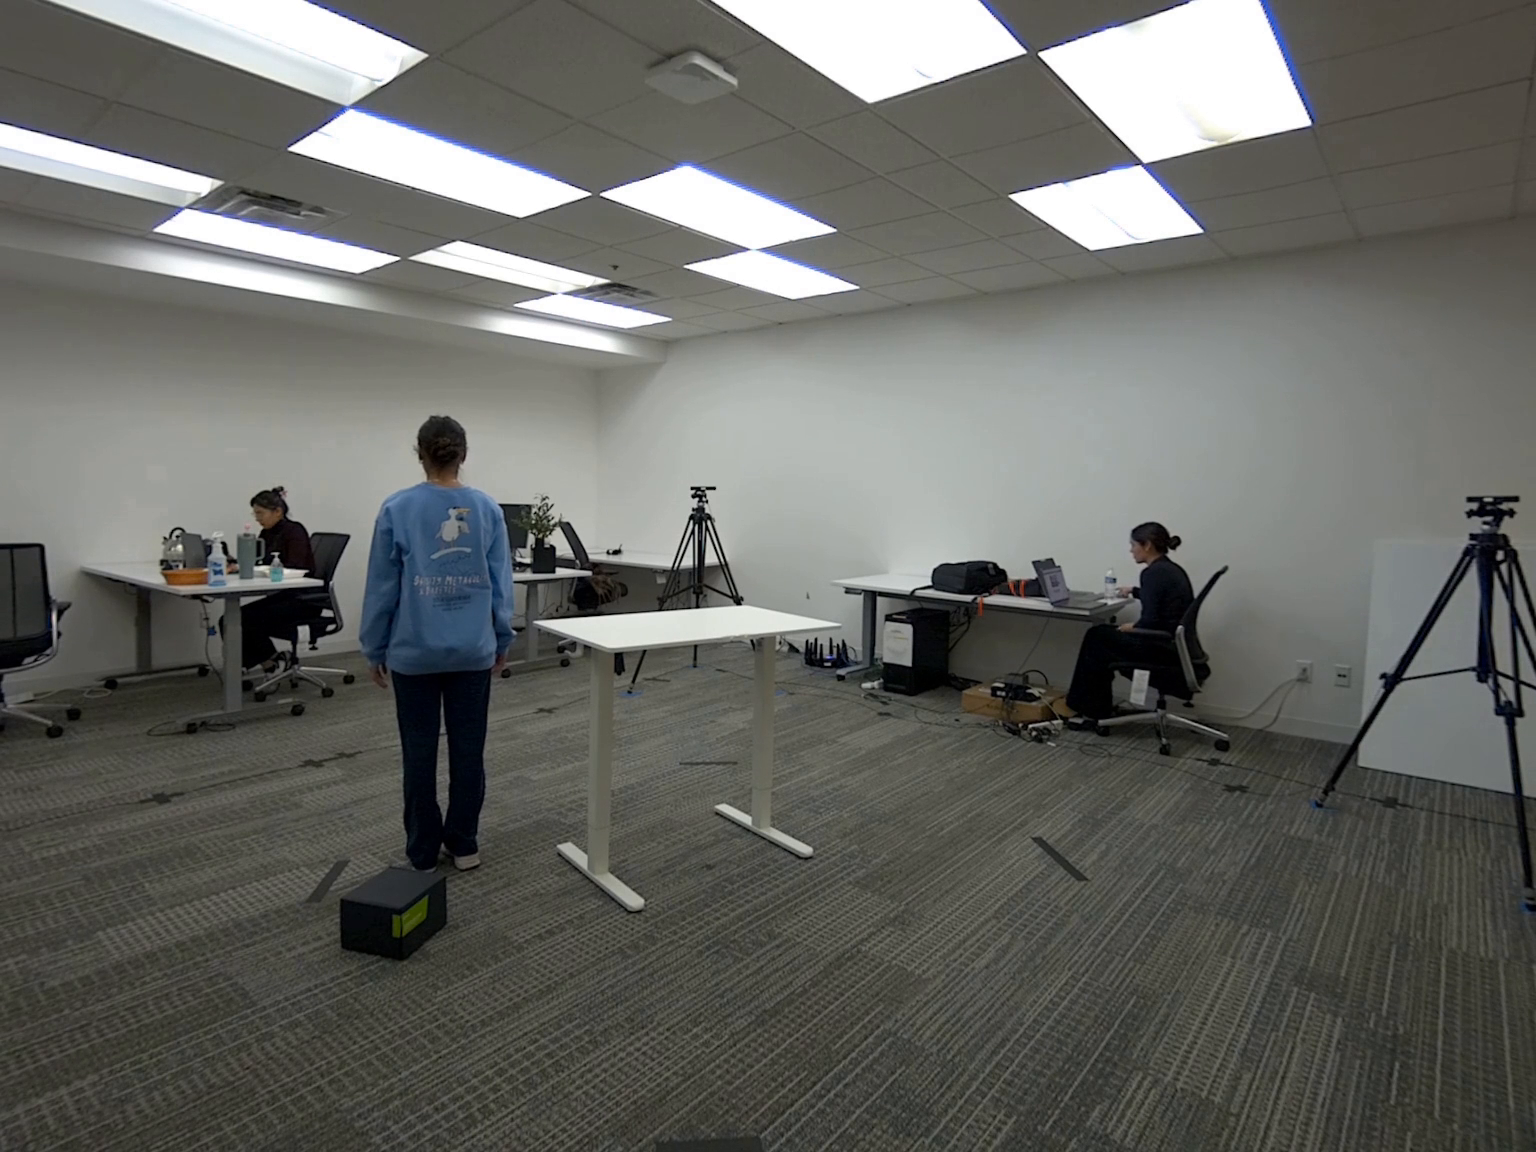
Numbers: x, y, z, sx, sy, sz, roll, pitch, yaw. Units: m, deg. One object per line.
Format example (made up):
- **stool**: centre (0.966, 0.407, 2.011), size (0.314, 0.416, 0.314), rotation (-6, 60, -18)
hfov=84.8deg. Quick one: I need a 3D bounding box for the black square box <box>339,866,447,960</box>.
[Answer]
- **black square box**: centre (-1.150, 1.021, 2.600), size (0.220, 0.155, 0.225), rotation (2, 5, 14)
